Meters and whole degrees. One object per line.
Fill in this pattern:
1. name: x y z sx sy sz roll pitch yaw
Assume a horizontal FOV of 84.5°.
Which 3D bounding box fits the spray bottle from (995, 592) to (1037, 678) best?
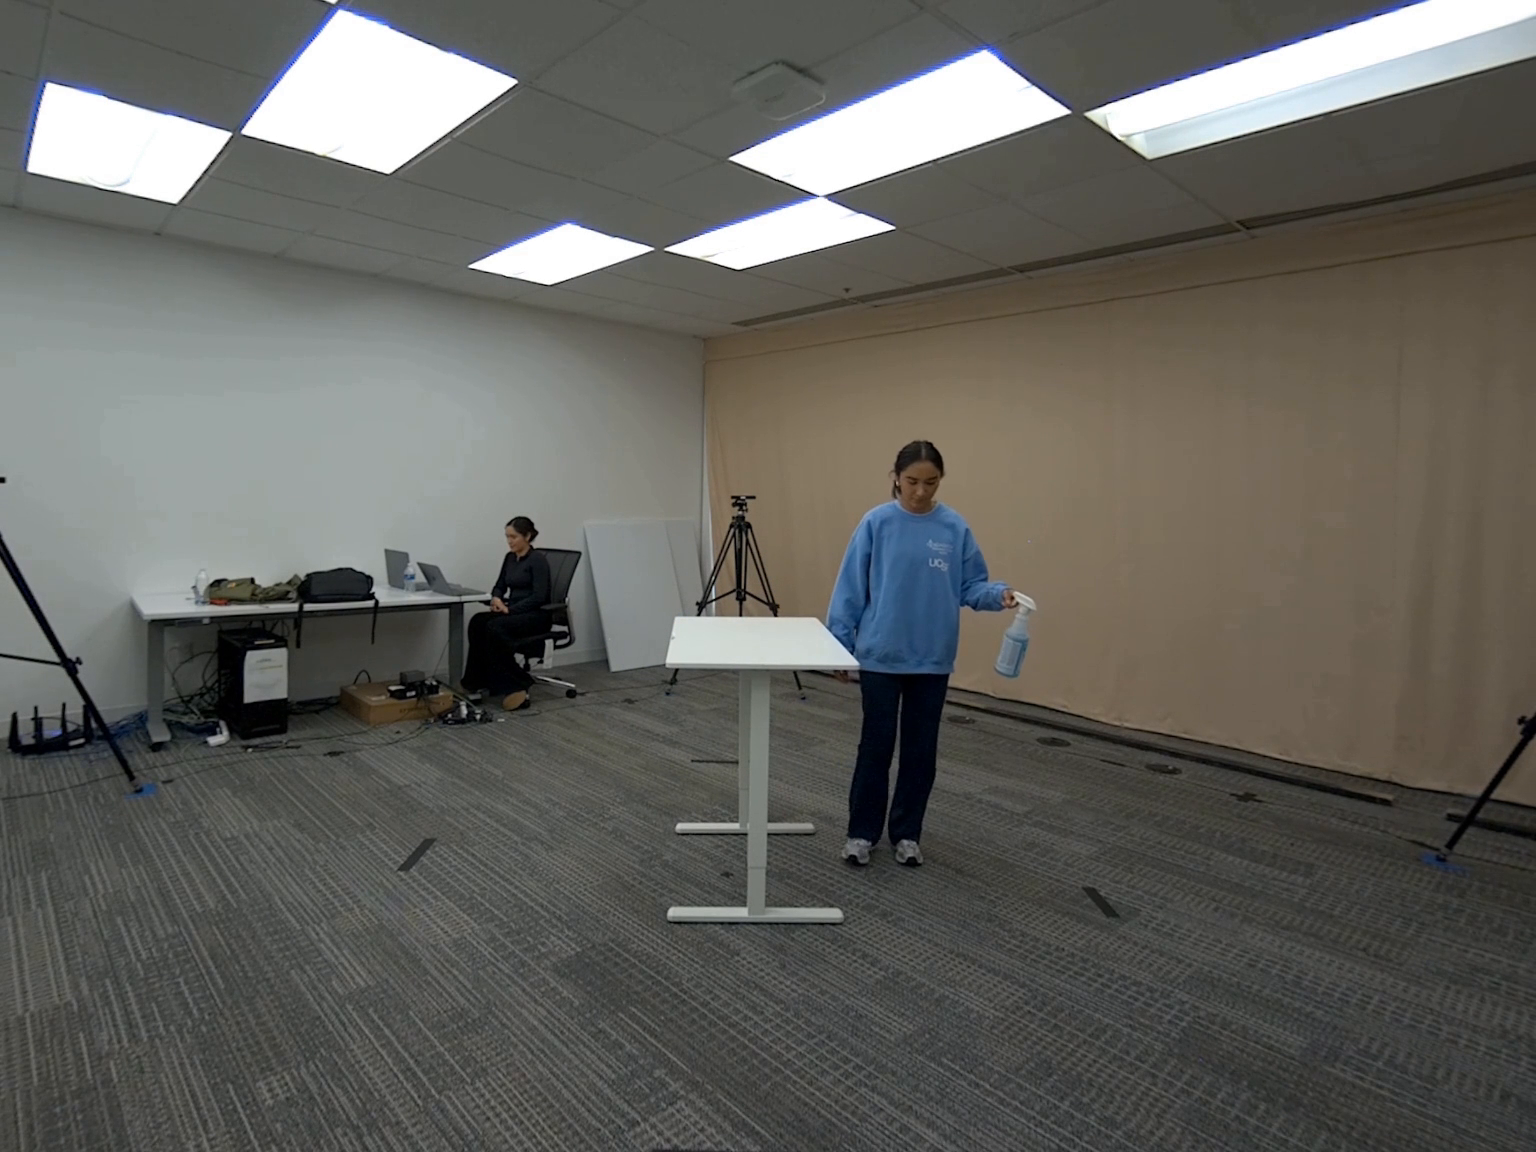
1. spray bottle: 0.864 0.211 2.945 0.086 0.294 0.092 -1 21 -20
